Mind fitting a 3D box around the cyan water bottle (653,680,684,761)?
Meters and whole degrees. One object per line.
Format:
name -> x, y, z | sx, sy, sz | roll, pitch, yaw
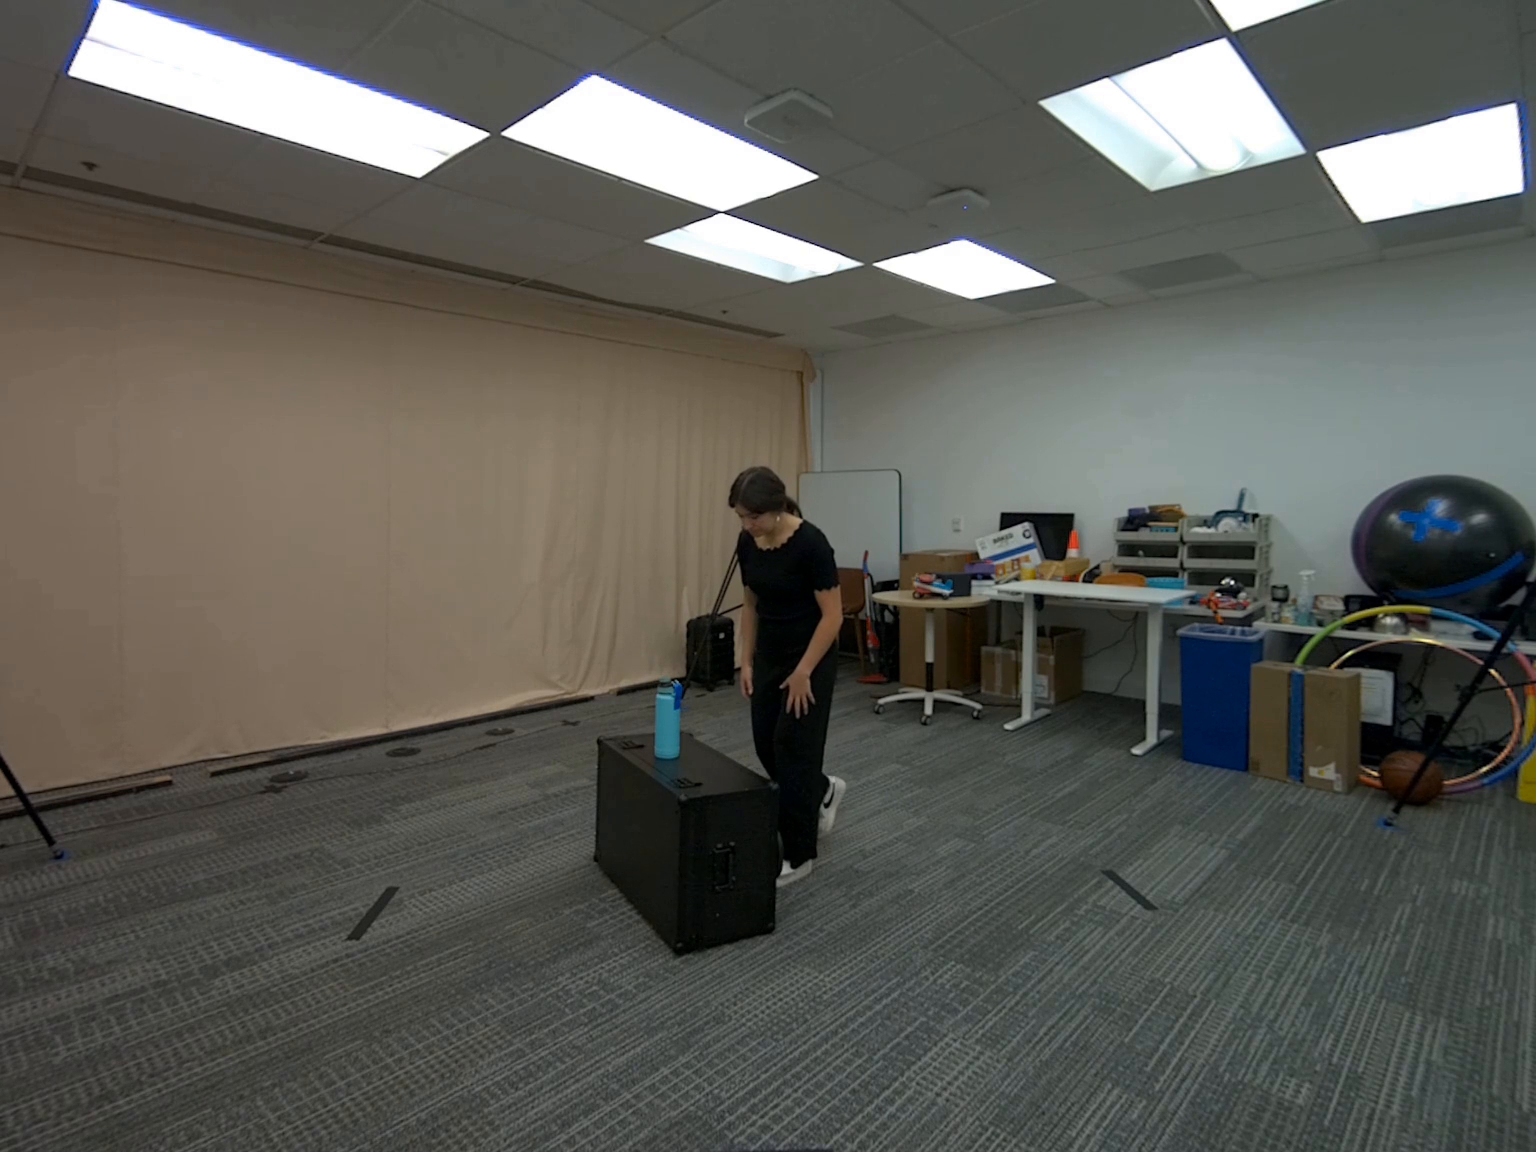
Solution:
cyan water bottle -> -0.362, 0.512, 3.057 | 0.092, 0.283, 0.092 | 1, 3, -2
